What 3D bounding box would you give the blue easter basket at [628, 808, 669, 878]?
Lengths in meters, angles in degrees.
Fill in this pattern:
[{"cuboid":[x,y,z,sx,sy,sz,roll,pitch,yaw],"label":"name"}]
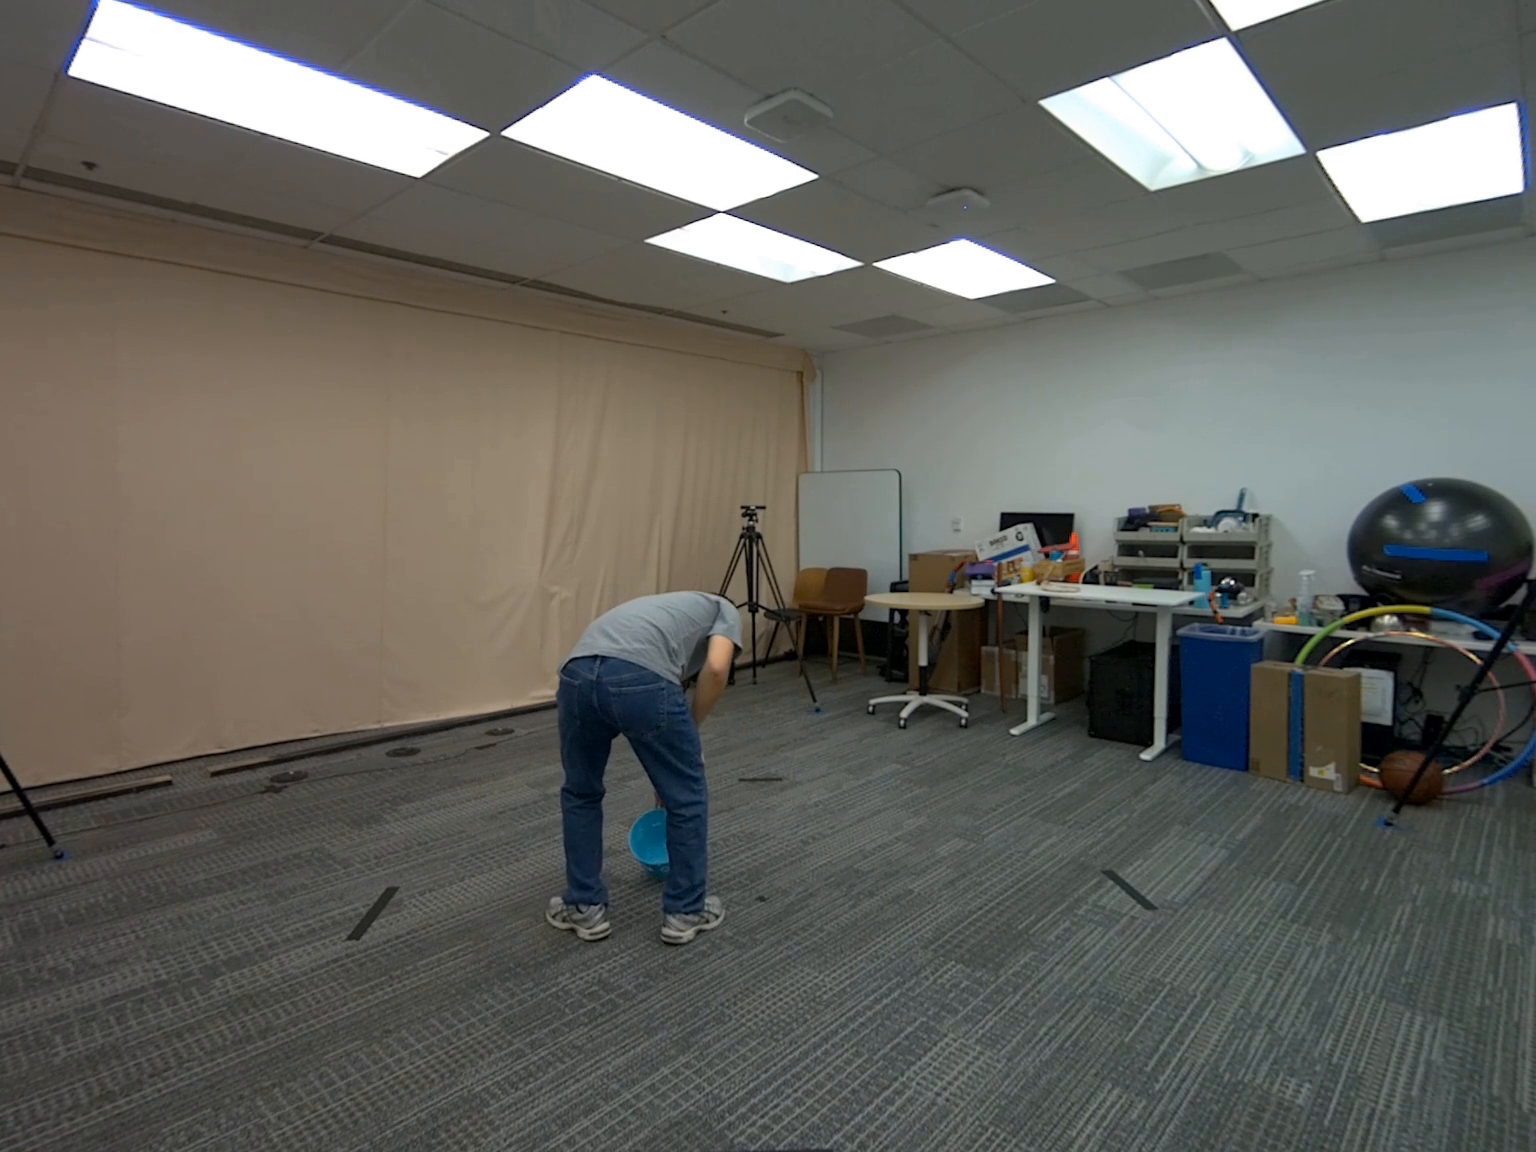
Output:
[{"cuboid":[-0.391,1.019,3.155,0.244,0.152,0.248,-4,38,2],"label":"blue easter basket"}]
